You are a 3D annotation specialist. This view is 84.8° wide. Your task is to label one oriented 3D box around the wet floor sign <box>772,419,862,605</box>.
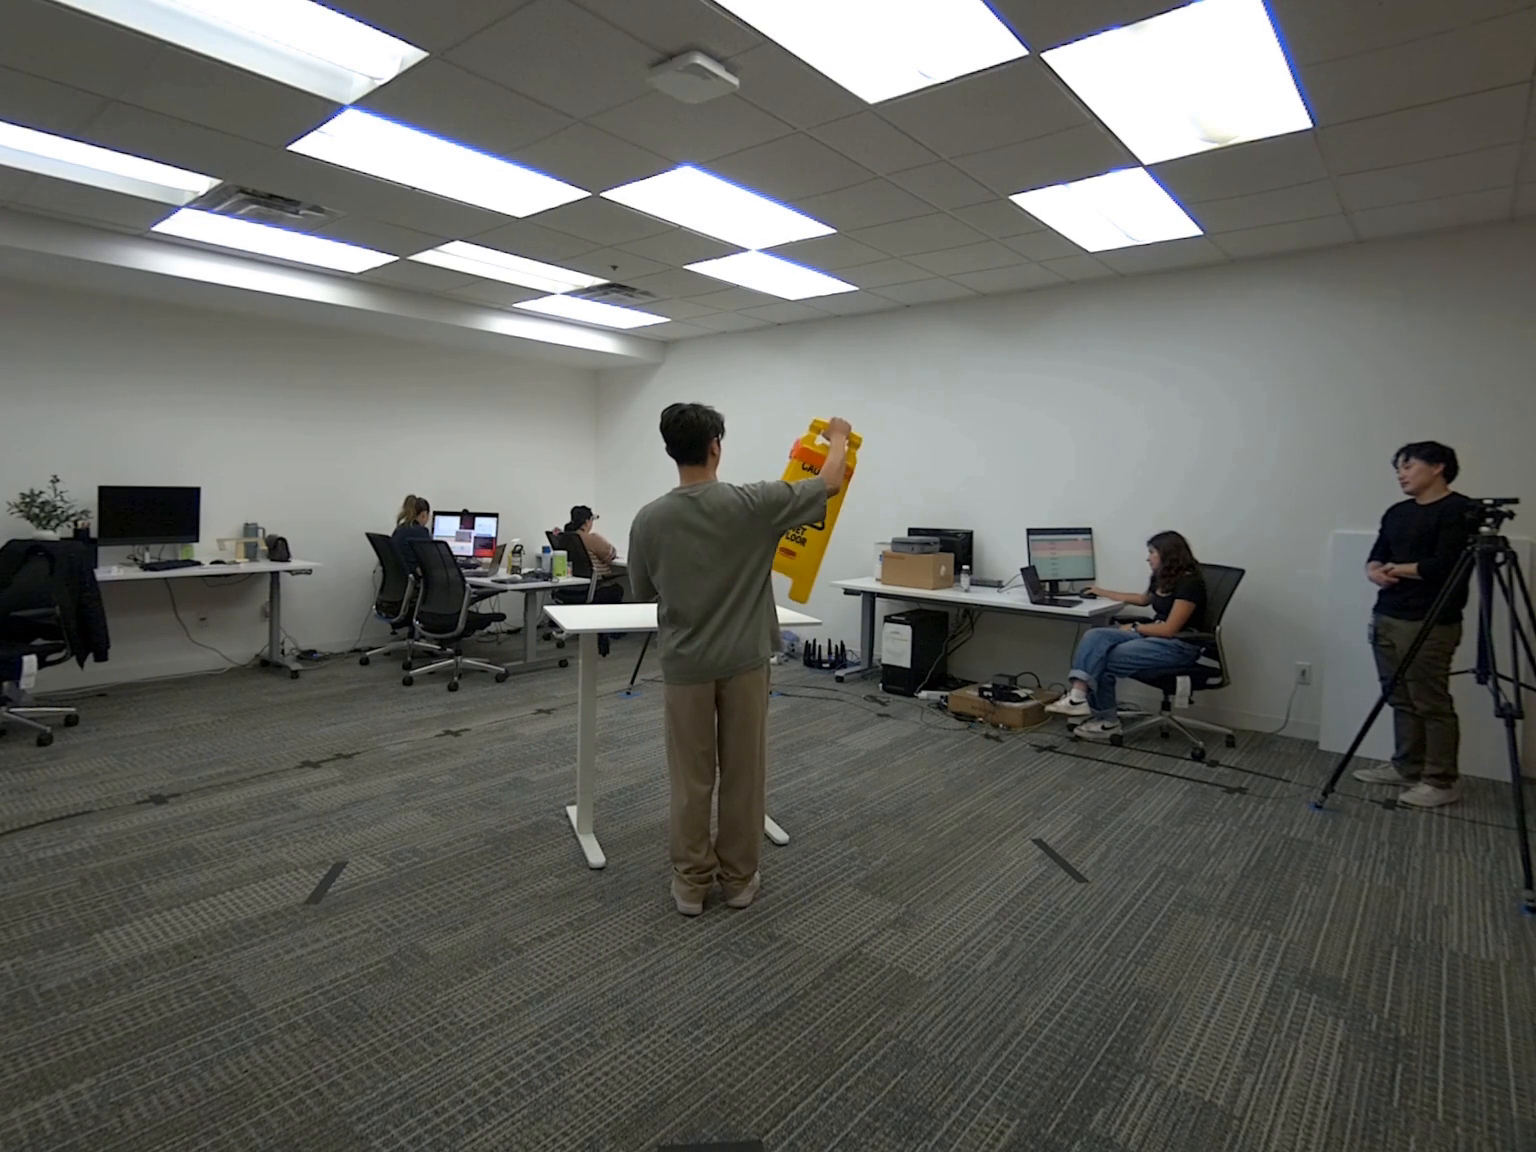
[{"bbox_3d":[0.120,-0.262,3.196,0.282,0.641,0.293,23,17,-2],"label":"wet floor sign"}]
